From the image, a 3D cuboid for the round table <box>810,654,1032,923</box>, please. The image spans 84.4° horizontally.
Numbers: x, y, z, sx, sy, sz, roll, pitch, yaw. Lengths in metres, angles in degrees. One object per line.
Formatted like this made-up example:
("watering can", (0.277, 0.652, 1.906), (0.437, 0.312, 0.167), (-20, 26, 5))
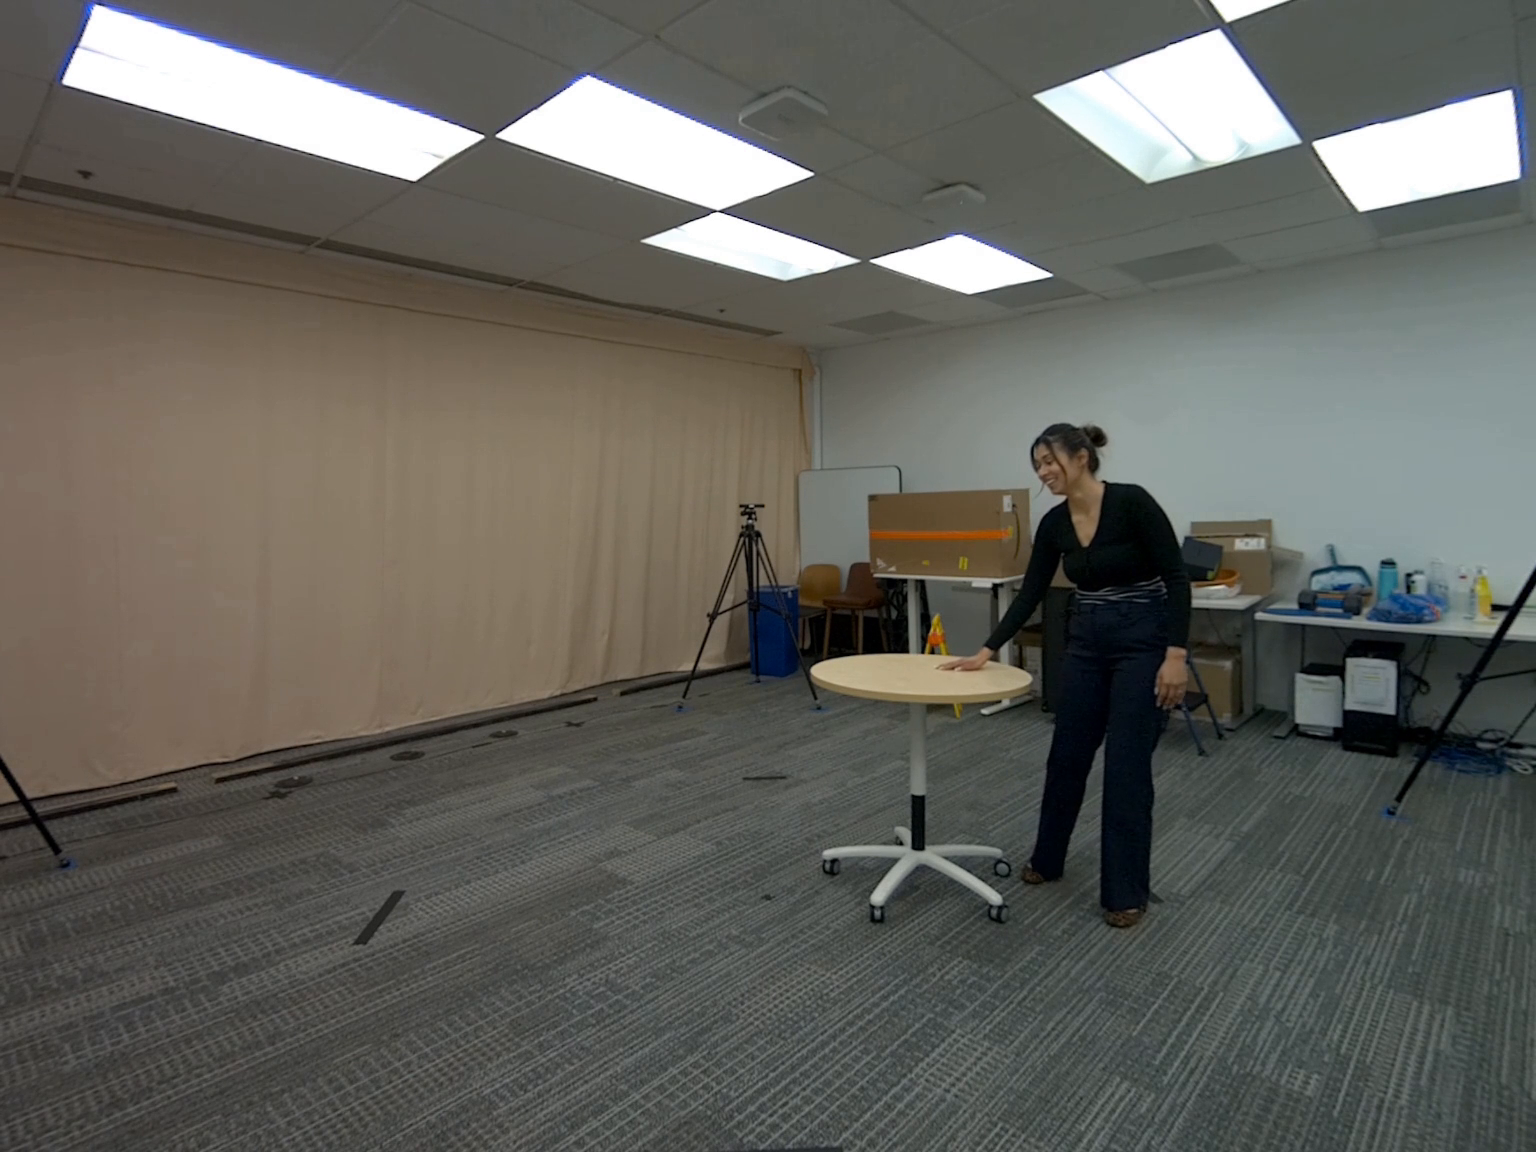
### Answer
("round table", (0.545, 0.740, 3.025), (0.763, 0.792, 0.766), (0, 4, -2))
